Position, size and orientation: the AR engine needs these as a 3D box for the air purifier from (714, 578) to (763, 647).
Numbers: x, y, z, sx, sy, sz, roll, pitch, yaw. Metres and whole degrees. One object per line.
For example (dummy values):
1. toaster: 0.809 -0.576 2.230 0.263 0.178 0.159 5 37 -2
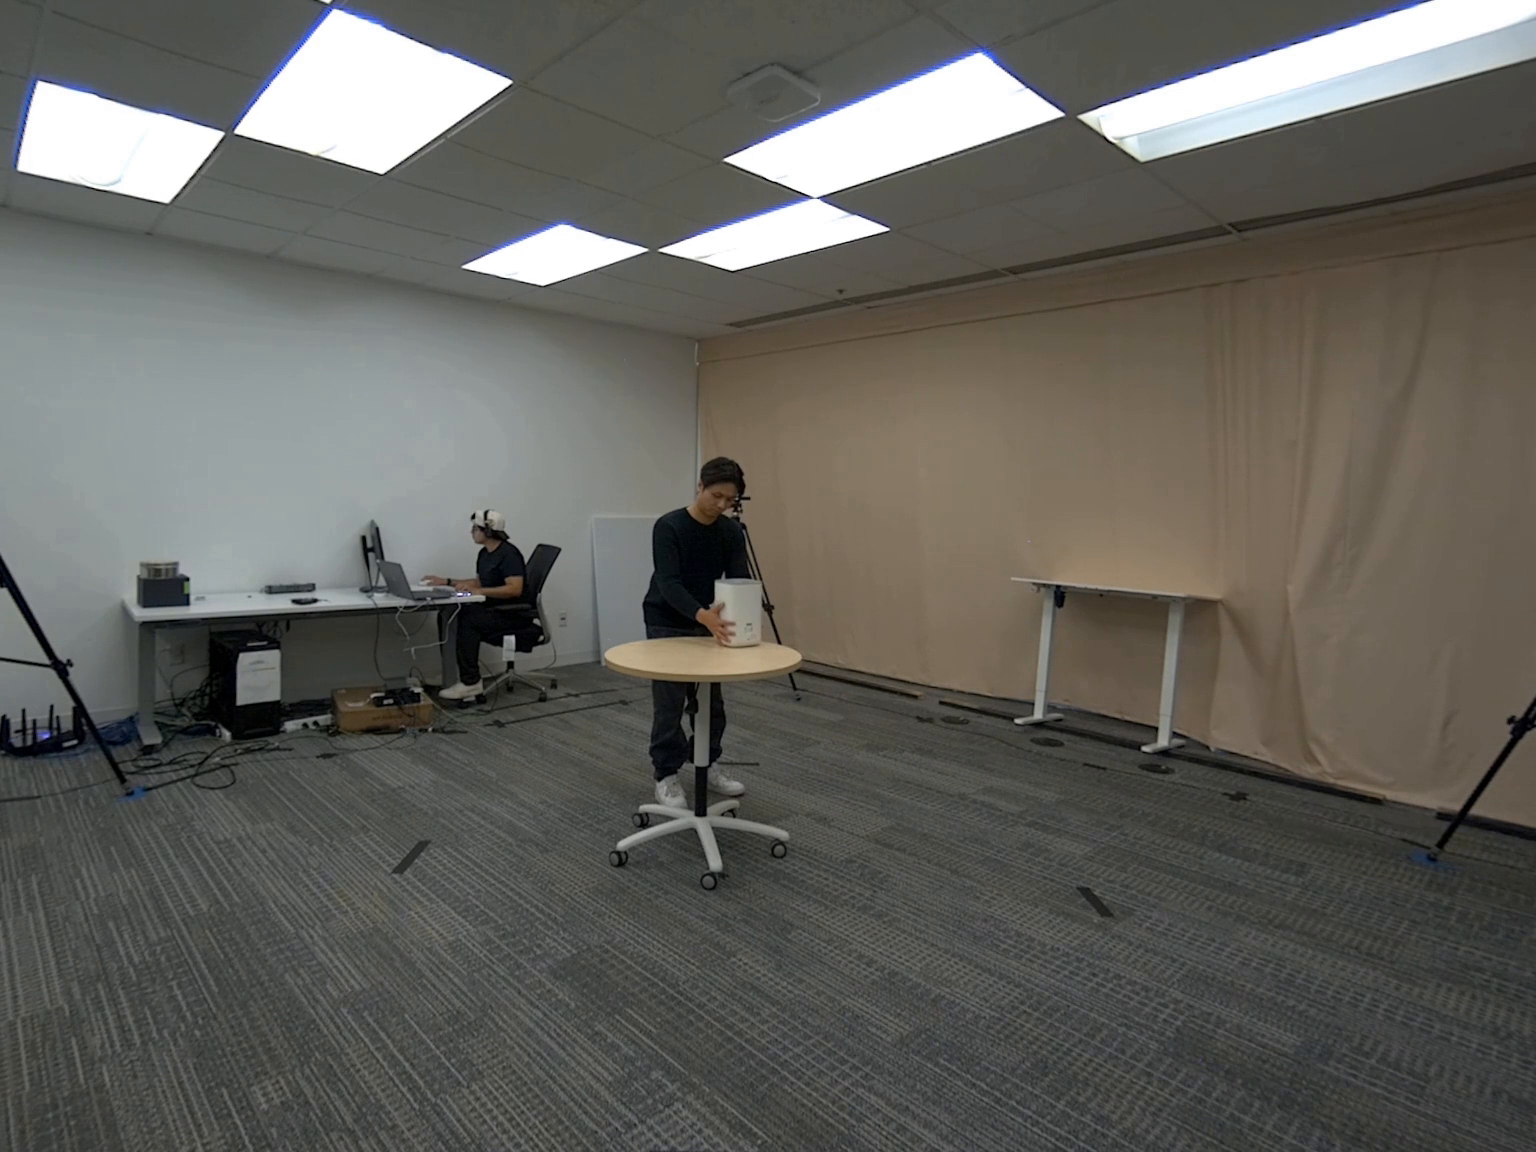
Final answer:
1. air purifier: -0.130 0.153 3.498 0.167 0.264 0.176 -1 5 -31
